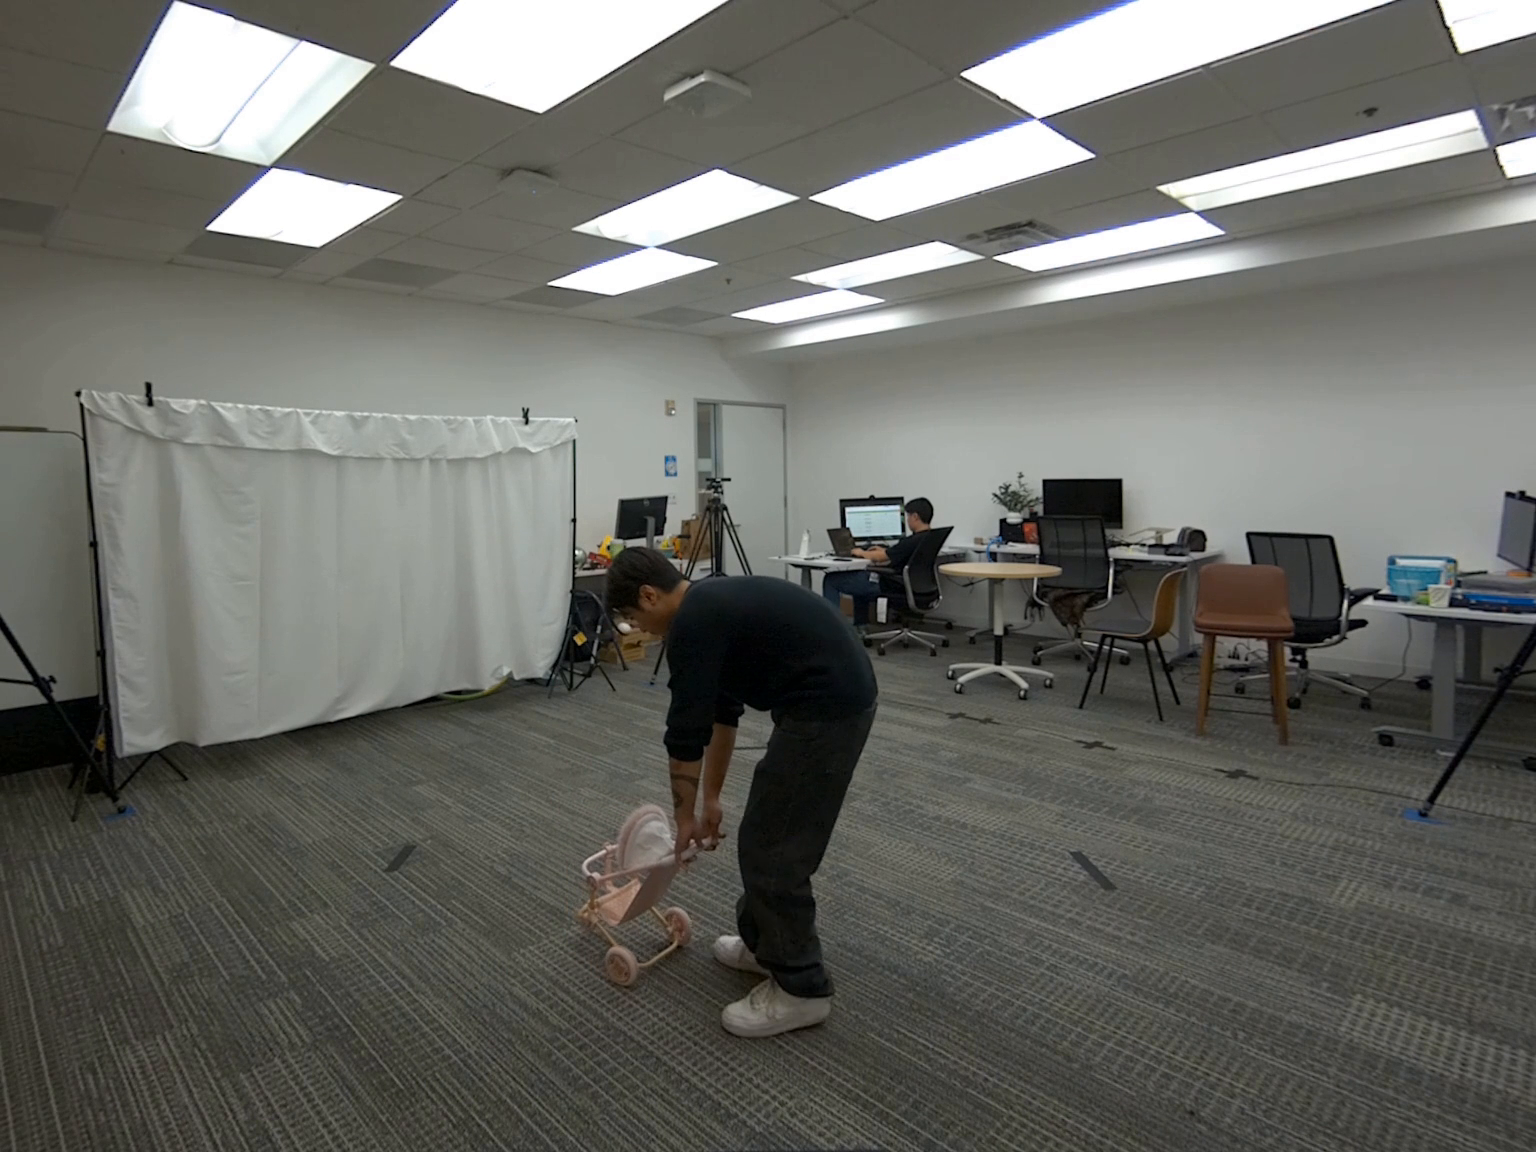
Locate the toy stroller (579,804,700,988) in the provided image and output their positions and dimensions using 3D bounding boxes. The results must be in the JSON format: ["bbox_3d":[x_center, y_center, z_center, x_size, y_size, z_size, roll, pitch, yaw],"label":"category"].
[{"bbox_3d":[-0.379,0.898,2.490,0.354,0.529,0.274,29,22,35],"label":"toy stroller"}]
